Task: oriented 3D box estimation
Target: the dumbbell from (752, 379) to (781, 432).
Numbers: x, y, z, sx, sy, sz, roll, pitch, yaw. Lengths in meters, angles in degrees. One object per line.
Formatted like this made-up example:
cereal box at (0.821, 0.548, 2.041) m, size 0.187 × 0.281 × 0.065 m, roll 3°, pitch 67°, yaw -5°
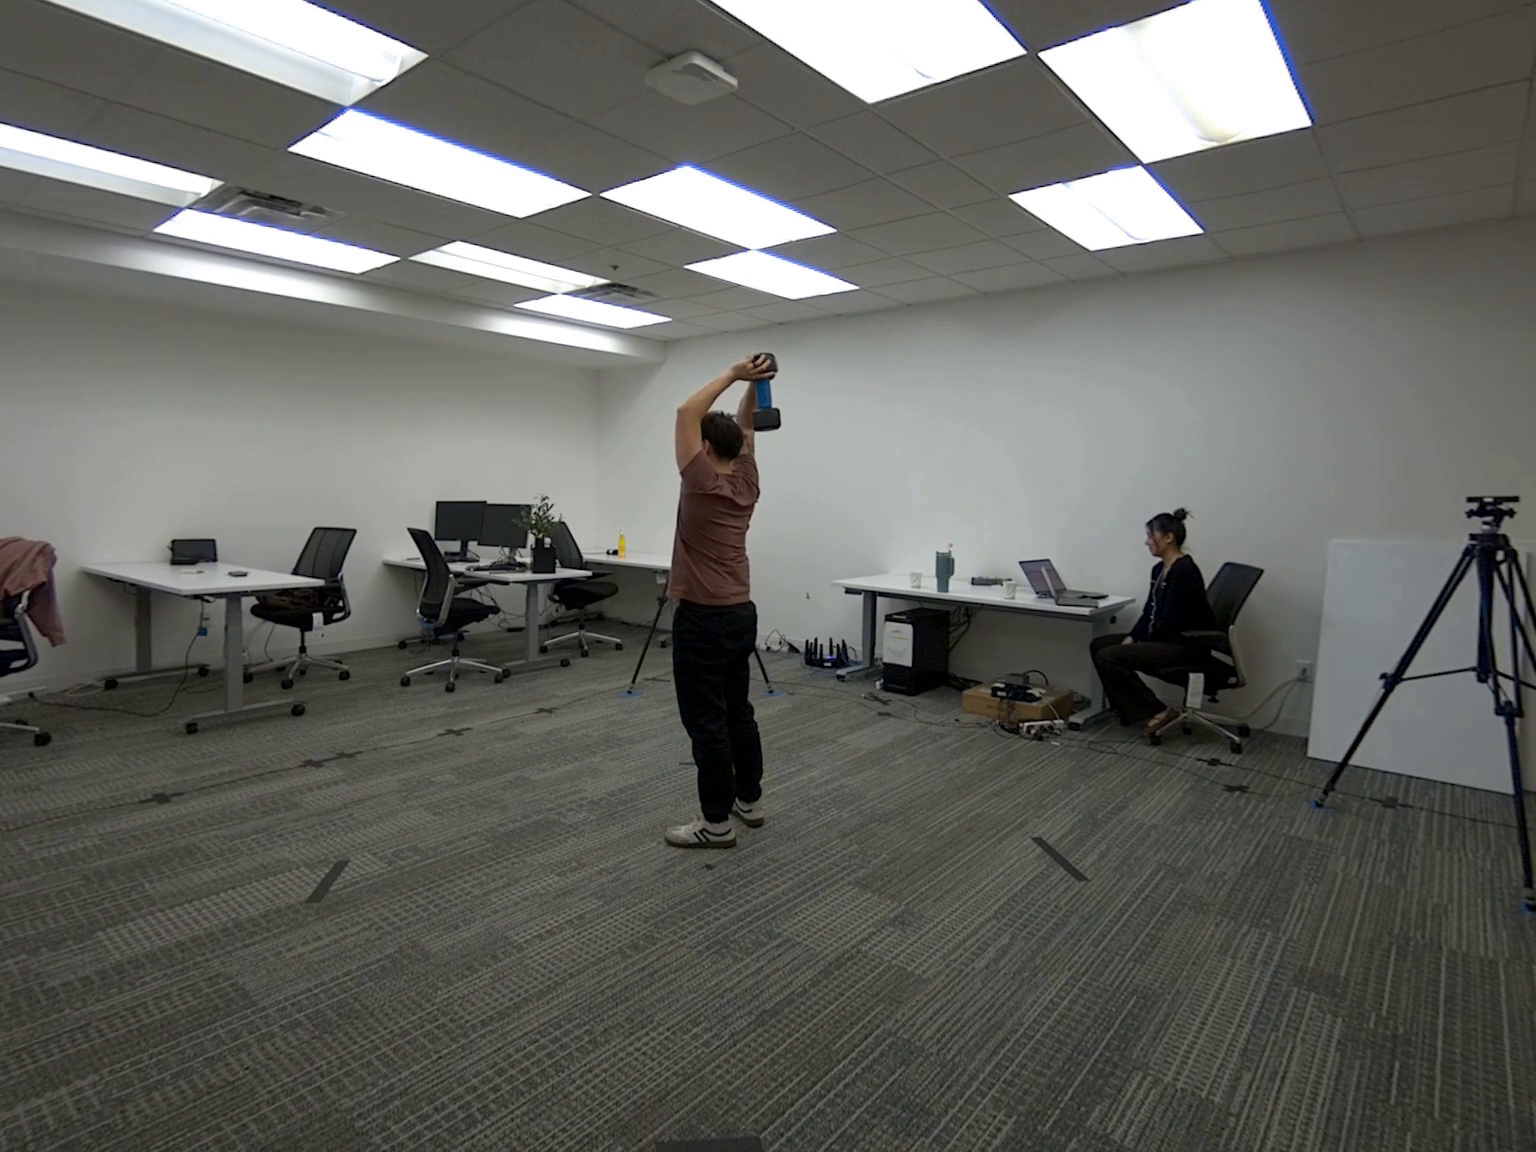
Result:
dumbbell at (-0.028, -0.708, 3.291) m, size 0.126 × 0.294 × 0.106 m, roll -7°, pitch -1°, yaw 33°
